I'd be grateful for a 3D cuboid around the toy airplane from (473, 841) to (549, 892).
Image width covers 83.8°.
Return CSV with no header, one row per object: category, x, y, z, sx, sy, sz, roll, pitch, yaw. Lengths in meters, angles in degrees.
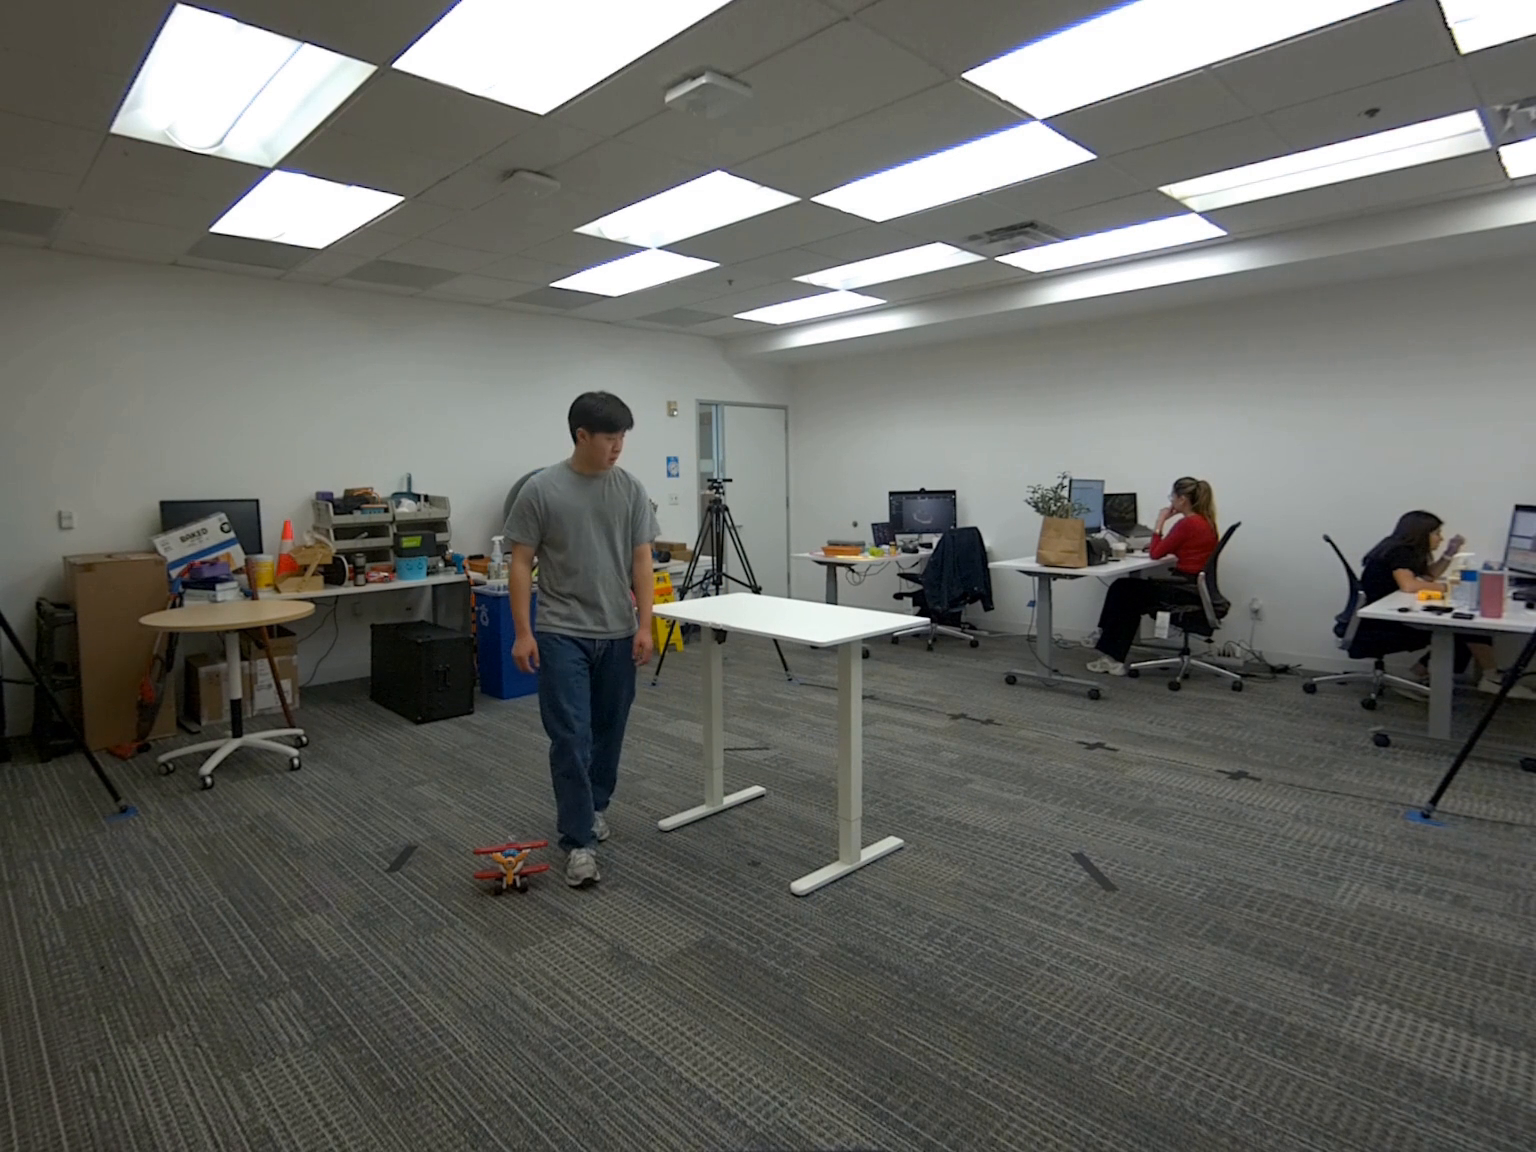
toy airplane,-0.919,1.002,2.995,0.245,0.155,0.267,-6,9,-40
